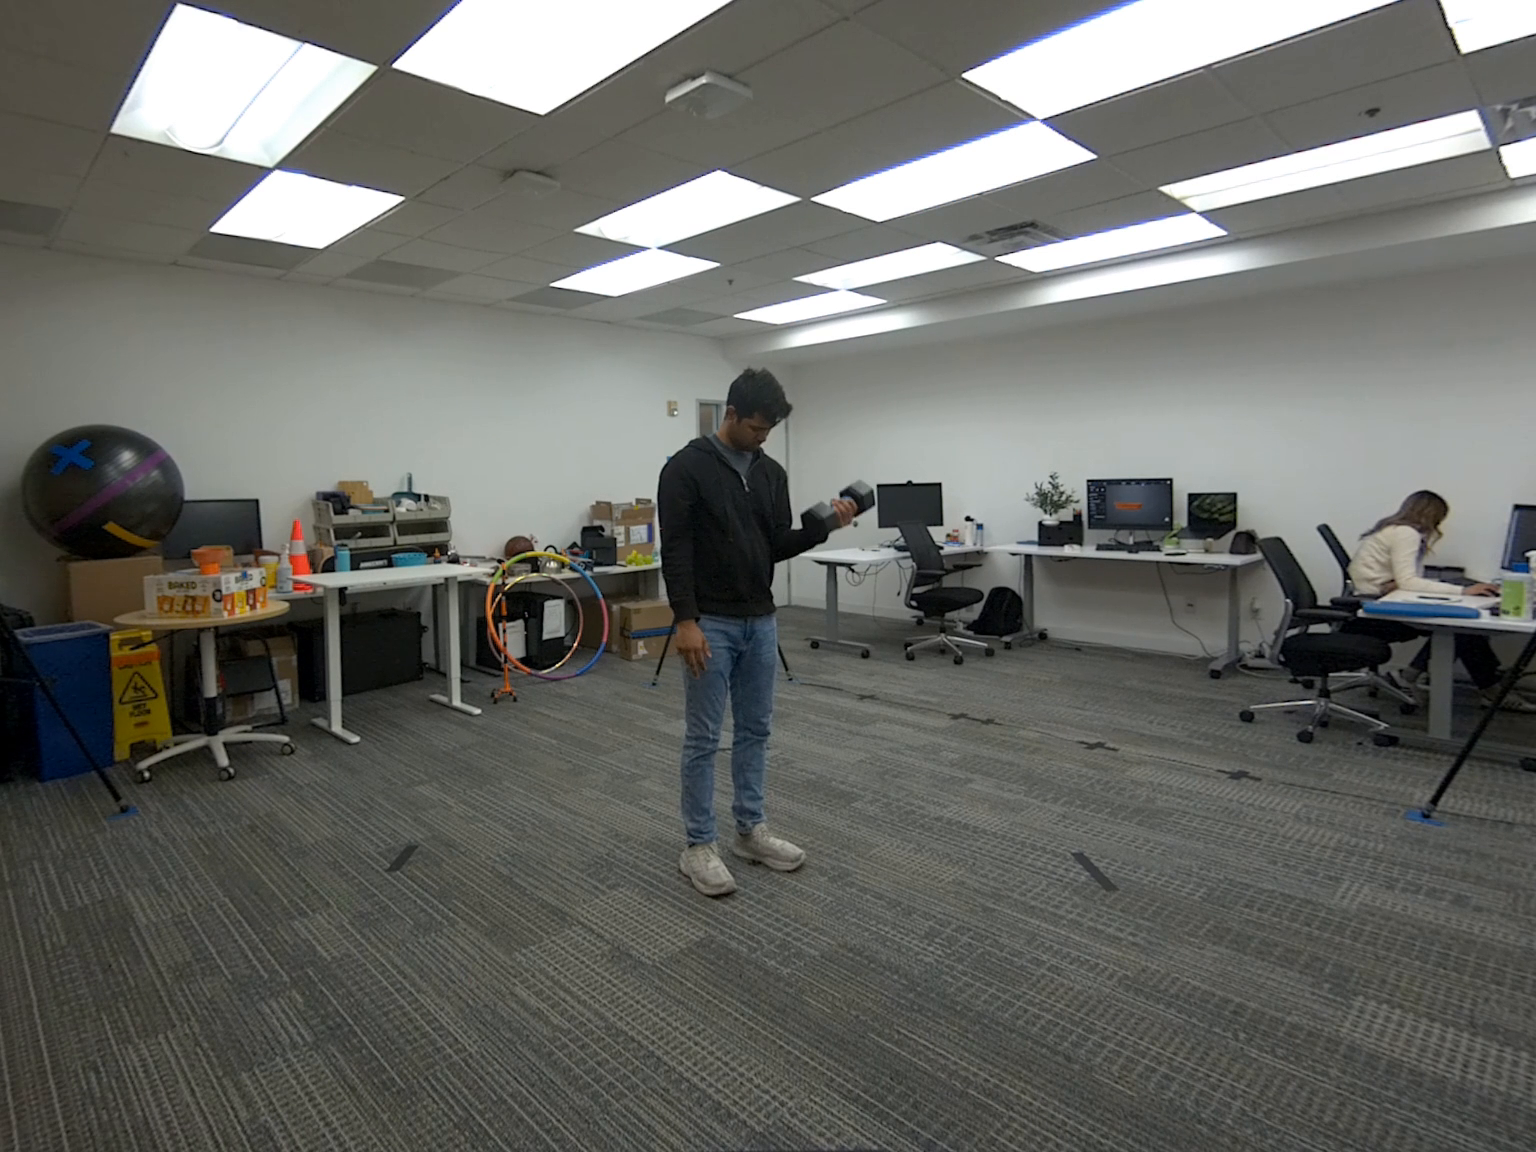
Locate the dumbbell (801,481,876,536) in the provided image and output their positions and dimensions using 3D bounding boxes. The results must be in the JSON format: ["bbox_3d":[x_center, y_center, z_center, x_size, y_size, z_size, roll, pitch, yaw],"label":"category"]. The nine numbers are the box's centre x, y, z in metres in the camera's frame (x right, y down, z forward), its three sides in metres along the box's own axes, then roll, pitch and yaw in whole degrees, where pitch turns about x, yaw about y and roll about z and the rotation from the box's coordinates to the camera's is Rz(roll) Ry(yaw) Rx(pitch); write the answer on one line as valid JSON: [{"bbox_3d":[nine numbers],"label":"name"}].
[{"bbox_3d":[0.231,-0.213,2.928,0.112,0.120,0.290,14,34,43],"label":"dumbbell"}]
